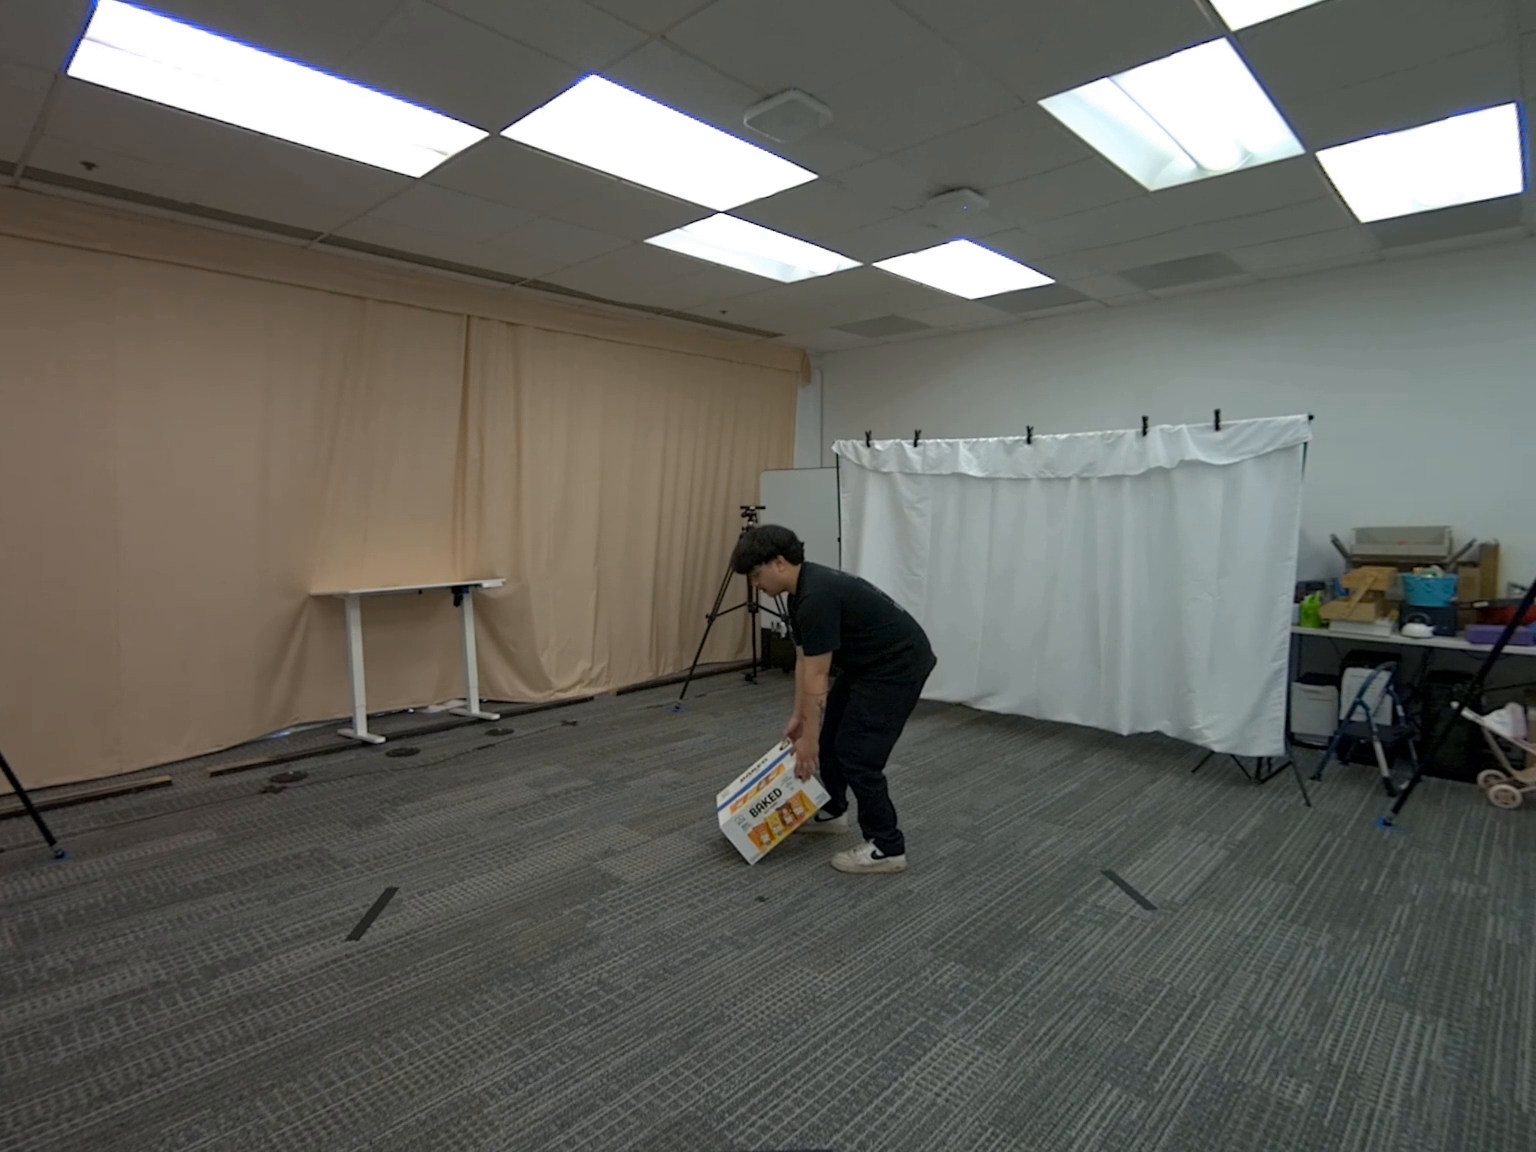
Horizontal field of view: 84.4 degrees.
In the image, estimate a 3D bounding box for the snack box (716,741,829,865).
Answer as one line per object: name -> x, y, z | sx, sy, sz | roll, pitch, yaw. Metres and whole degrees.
snack box -> 0.013, 0.903, 3.426 | 0.405, 0.204, 0.343 | -40, 7, 0
